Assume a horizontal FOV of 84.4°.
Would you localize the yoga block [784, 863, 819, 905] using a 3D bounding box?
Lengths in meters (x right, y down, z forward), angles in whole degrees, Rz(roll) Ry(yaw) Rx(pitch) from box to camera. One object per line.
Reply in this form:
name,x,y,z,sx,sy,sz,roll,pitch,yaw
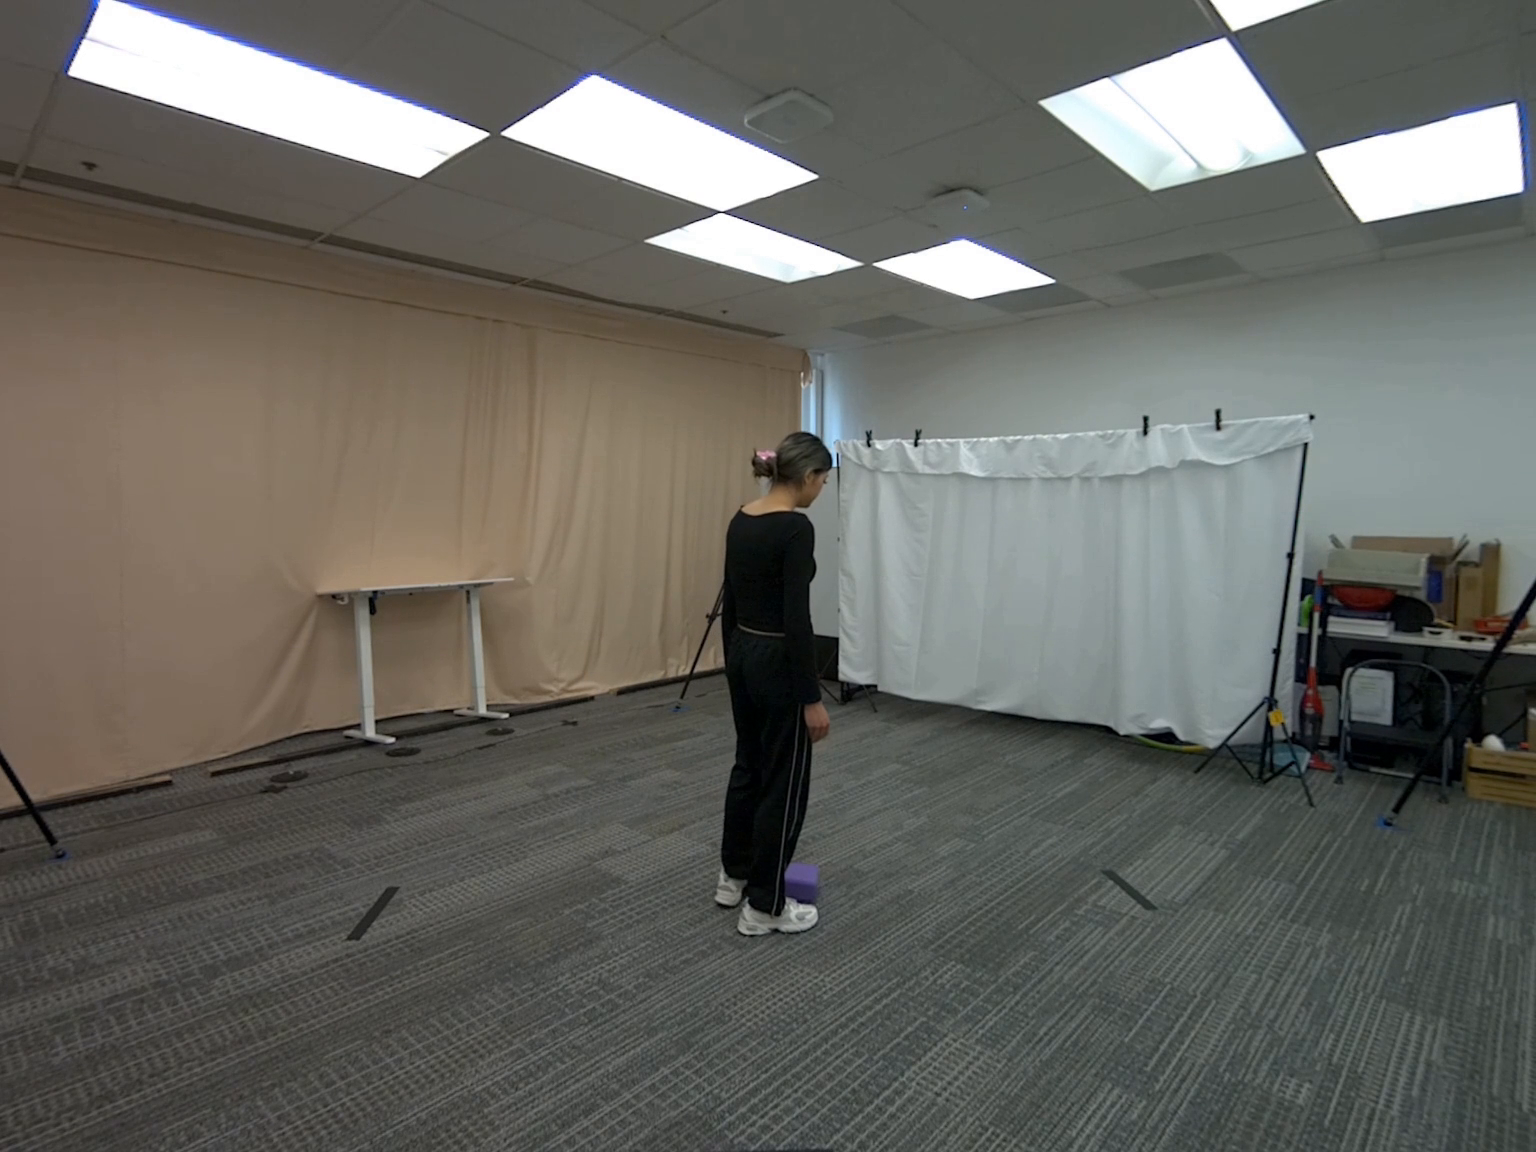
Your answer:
yoga block,0.084,1.101,3.017,0.232,0.076,0.148,2,7,9
